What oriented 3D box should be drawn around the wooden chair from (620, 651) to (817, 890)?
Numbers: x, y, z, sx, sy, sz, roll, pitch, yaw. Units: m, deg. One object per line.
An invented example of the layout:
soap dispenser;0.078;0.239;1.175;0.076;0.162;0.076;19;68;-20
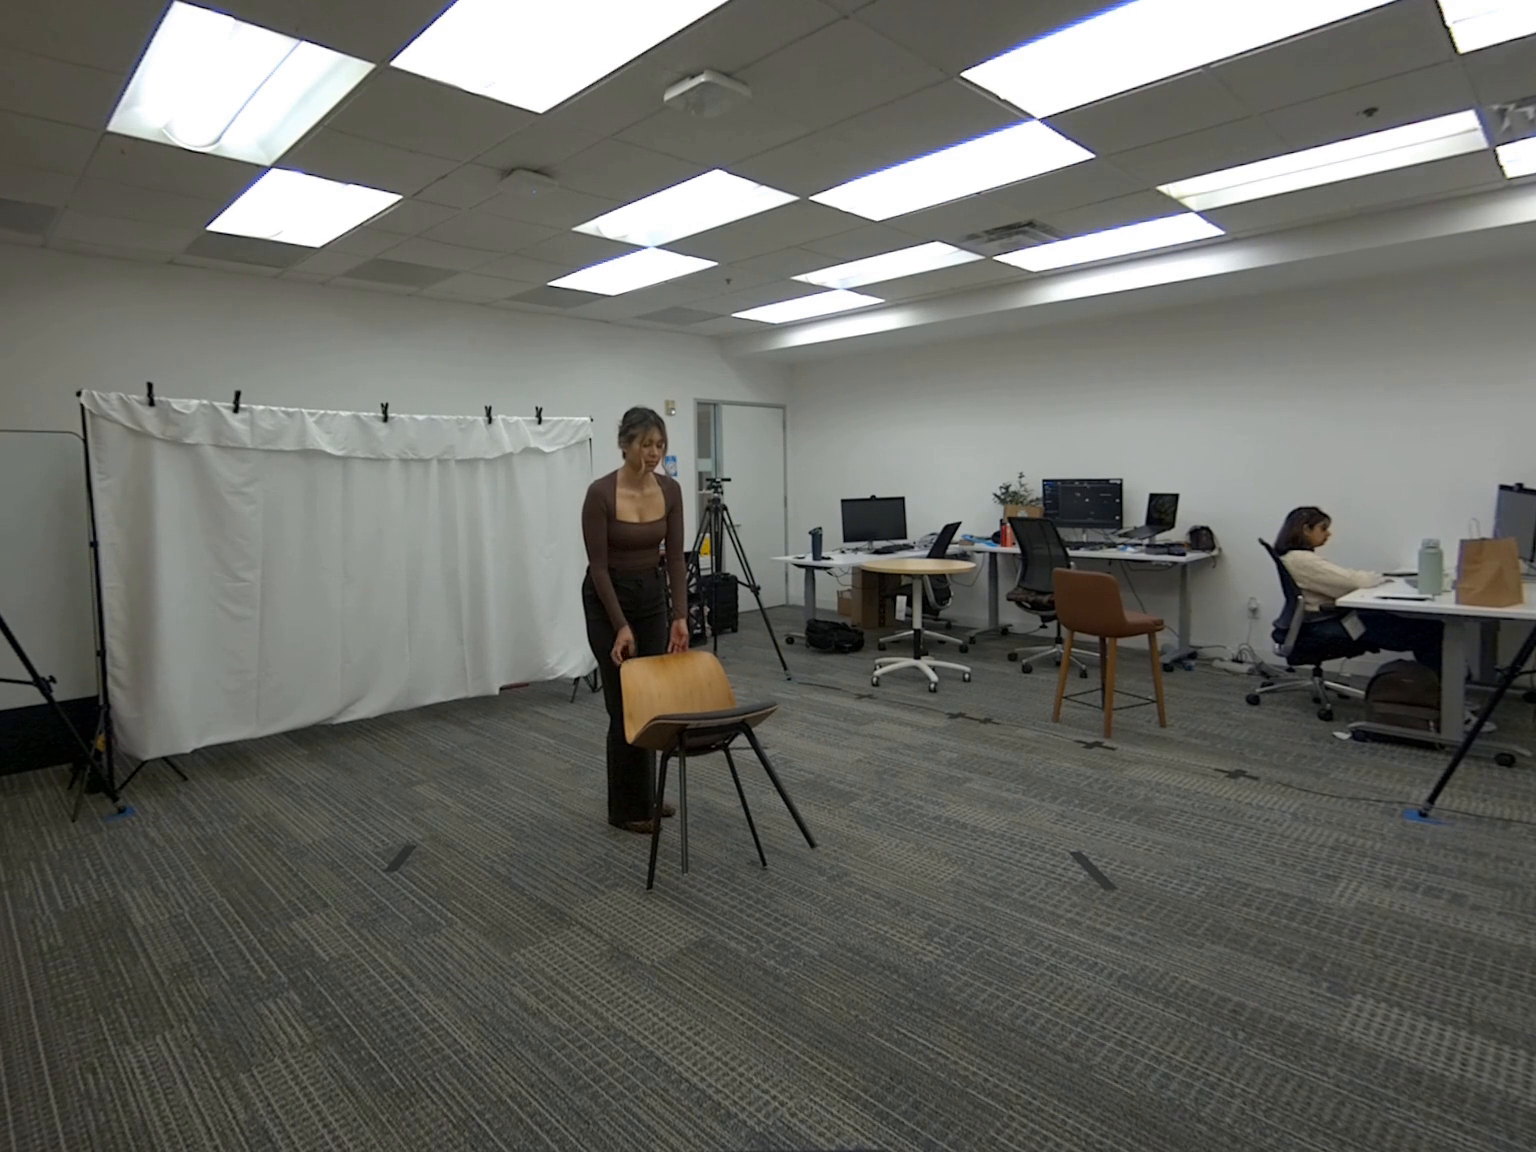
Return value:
wooden chair;-0.221;0.572;2.966;0.469;0.902;0.519;-3;-29;-23
